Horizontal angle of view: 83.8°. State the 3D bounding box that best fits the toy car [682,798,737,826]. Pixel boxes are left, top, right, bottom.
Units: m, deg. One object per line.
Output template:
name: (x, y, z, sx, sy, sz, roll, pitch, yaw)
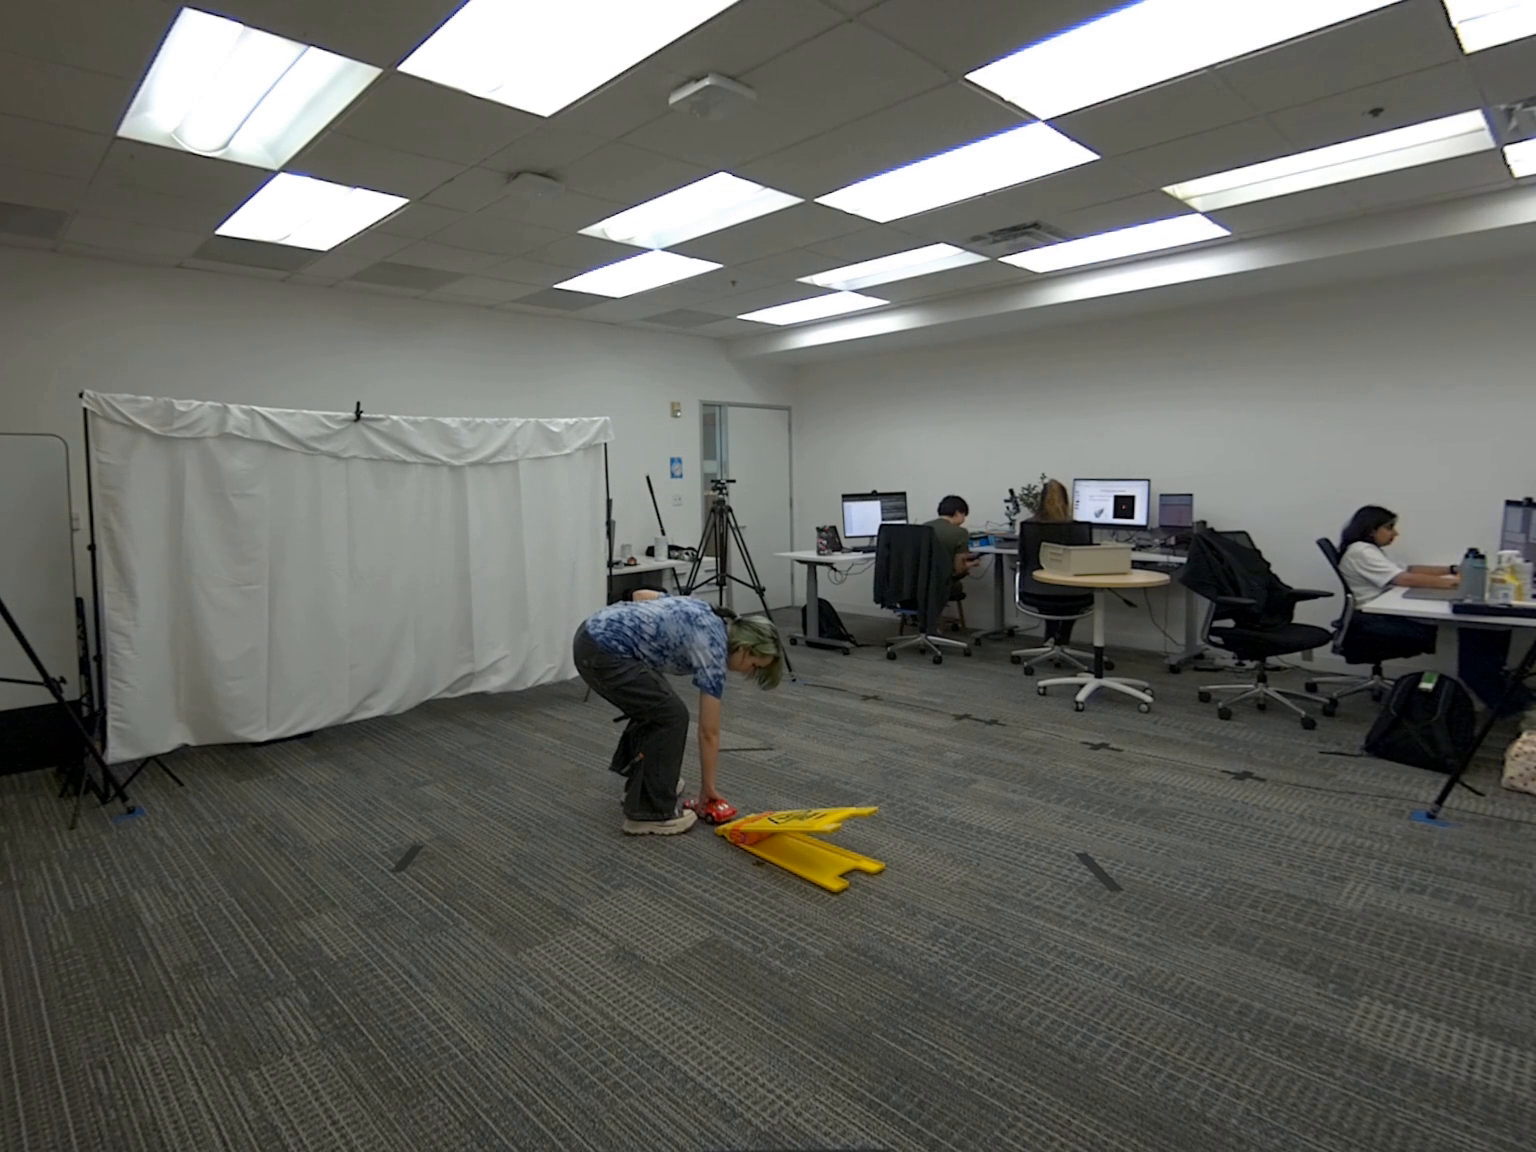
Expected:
toy car: (-0.238, 0.973, 3.542, 0.260, 0.083, 0.127, -9, -2, 43)
